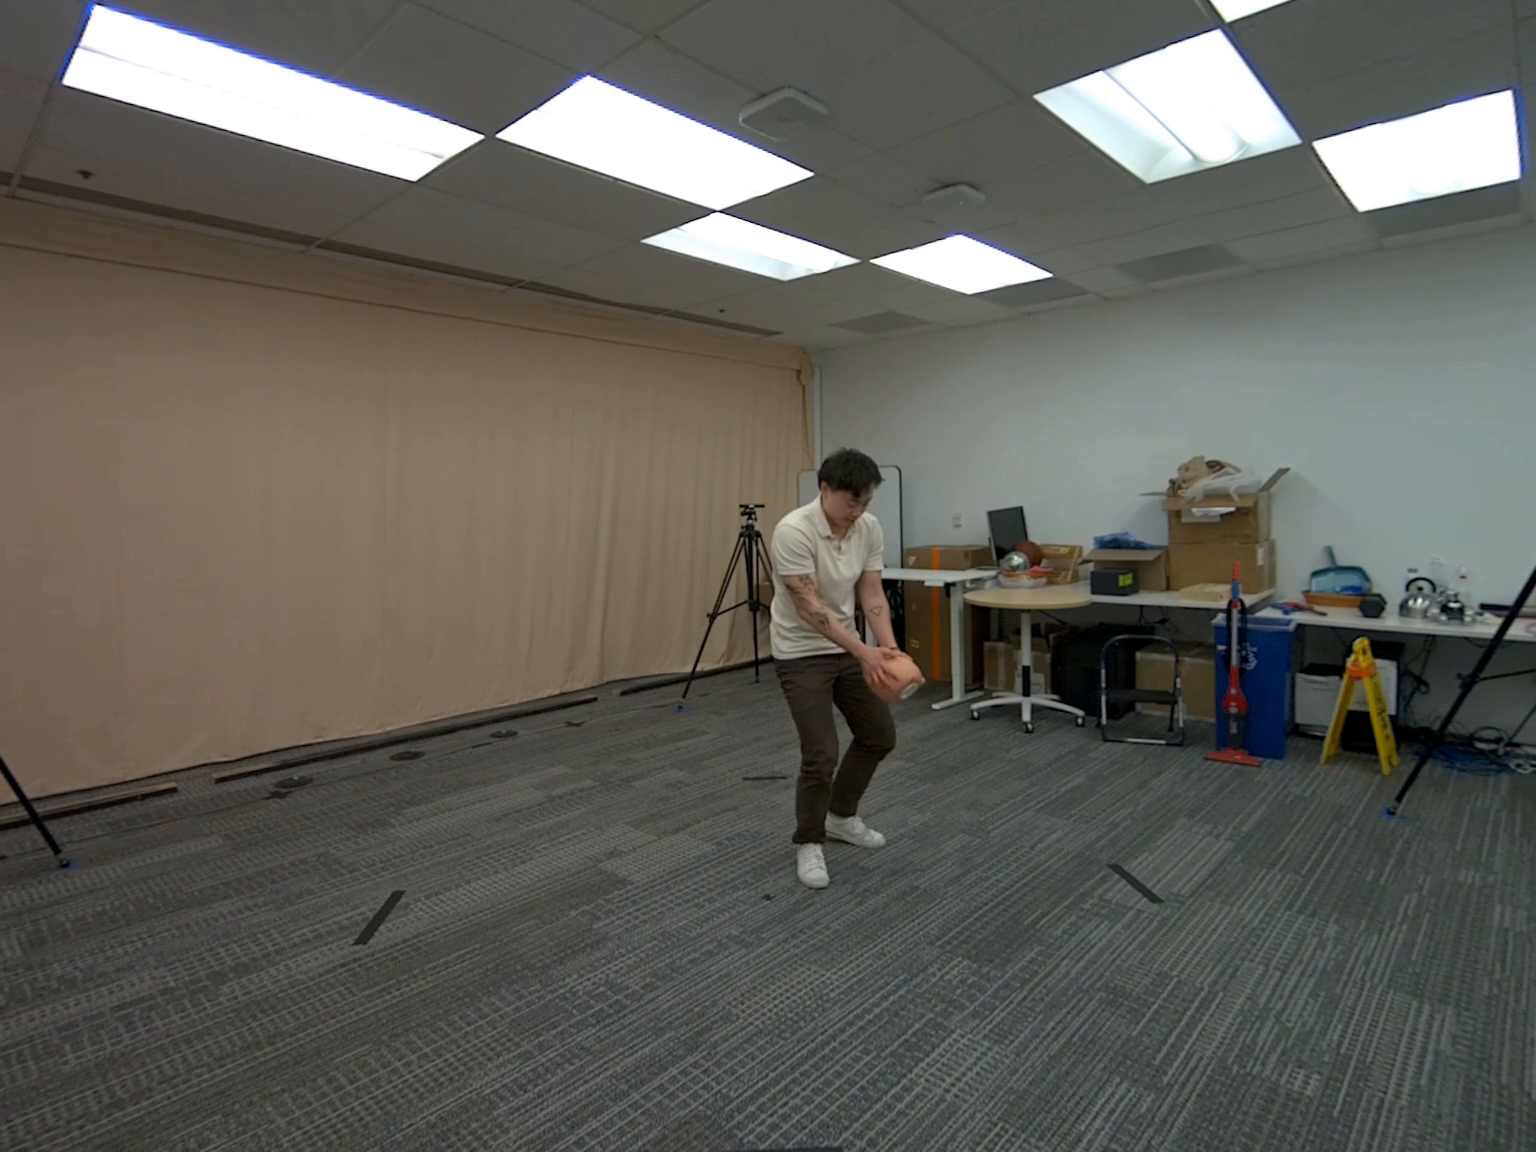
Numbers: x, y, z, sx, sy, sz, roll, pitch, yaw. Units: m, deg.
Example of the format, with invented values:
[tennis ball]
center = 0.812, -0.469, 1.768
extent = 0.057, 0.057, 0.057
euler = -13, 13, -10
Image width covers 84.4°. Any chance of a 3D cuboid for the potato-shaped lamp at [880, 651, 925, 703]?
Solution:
[potato-shaped lamp]
center = 0.434, 0.343, 2.965
extent = 0.172, 0.204, 0.159
euler = -41, -35, 12
